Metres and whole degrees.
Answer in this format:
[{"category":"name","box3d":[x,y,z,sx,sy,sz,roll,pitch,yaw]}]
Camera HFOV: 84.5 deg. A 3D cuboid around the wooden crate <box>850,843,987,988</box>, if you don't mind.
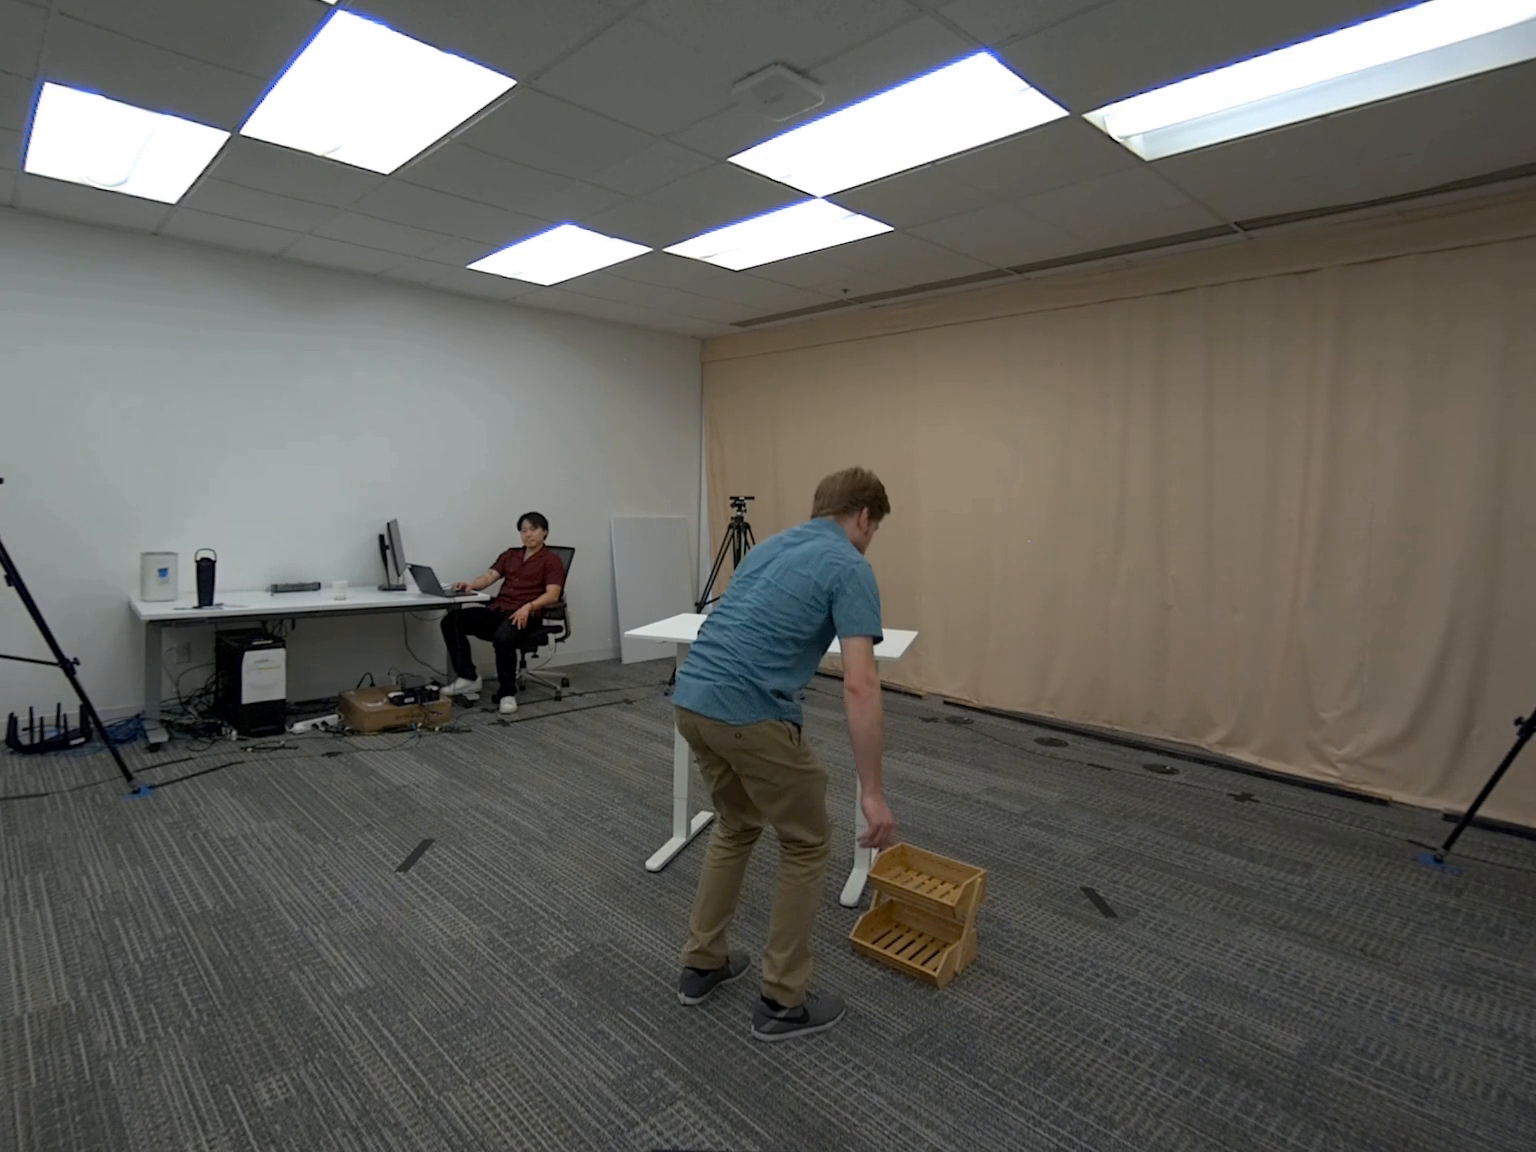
[{"category":"wooden crate","box3d":[0.459,1.033,2.596,0.332,0.273,0.295,5,5,40]}]
